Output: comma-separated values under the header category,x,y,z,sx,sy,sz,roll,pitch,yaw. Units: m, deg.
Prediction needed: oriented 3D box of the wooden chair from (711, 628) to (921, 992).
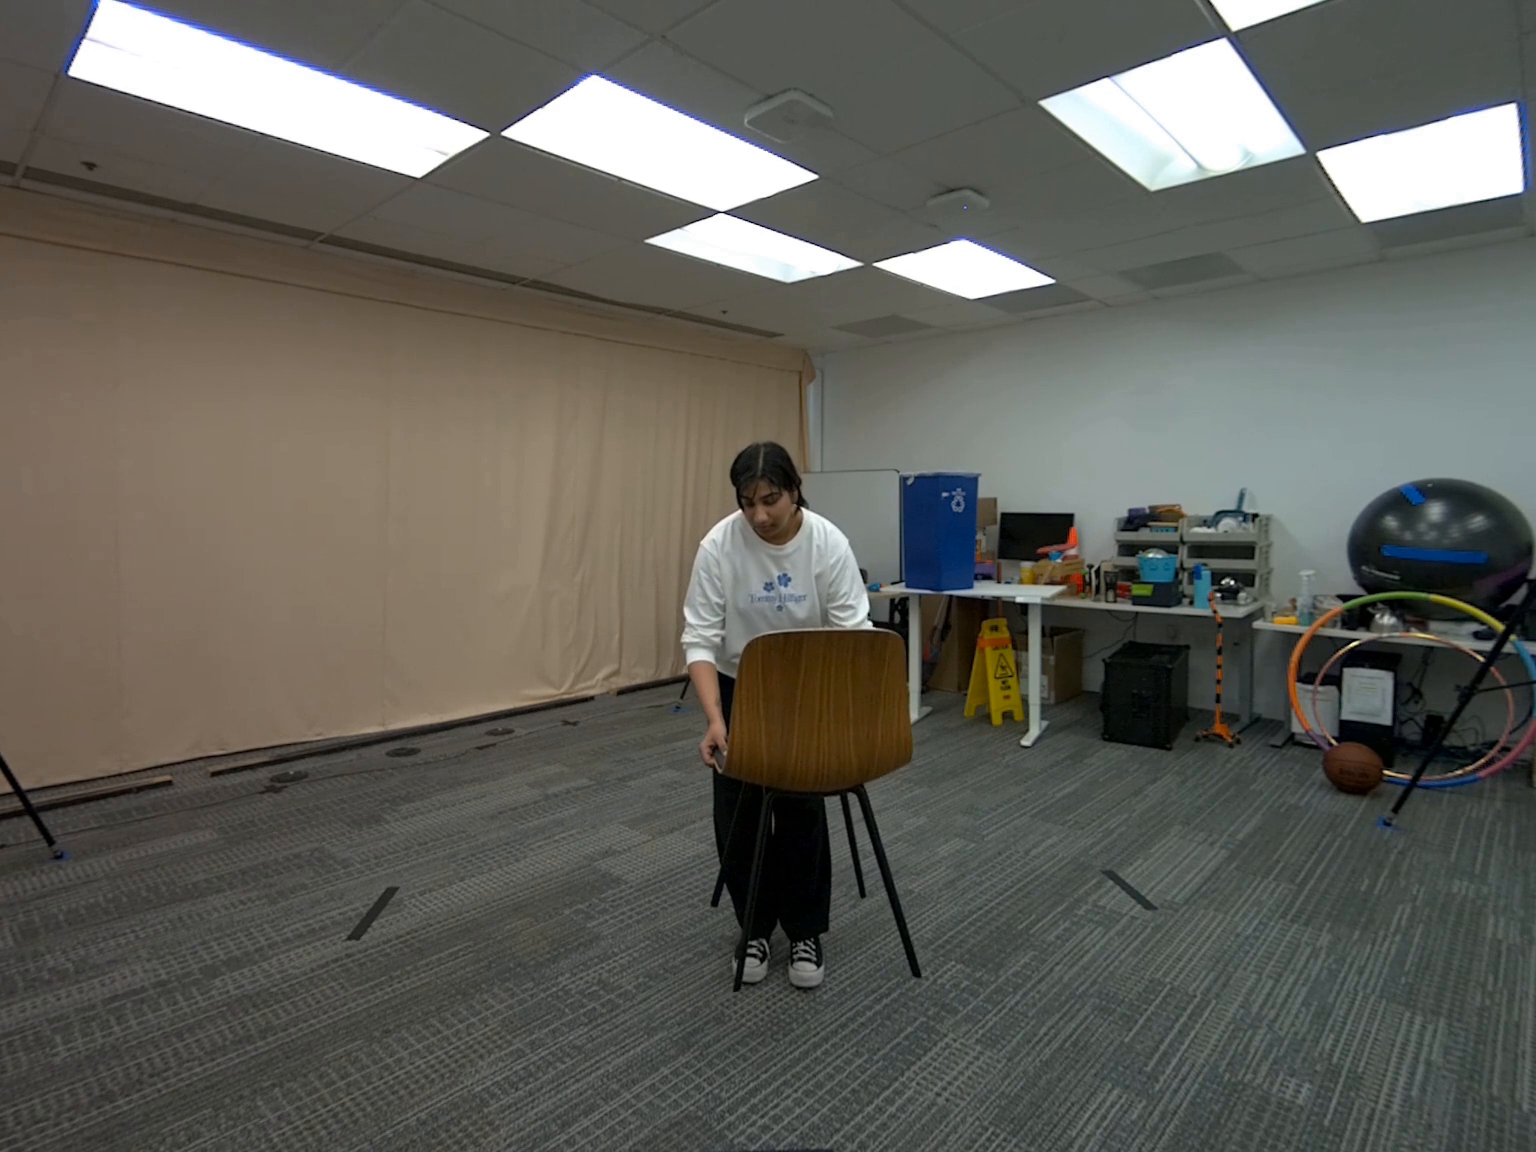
category,x,y,z,sx,sy,sz,roll,pitch,yaw
wooden chair,0.094,0.522,2.189,0.474,0.874,0.529,-2,6,-8
